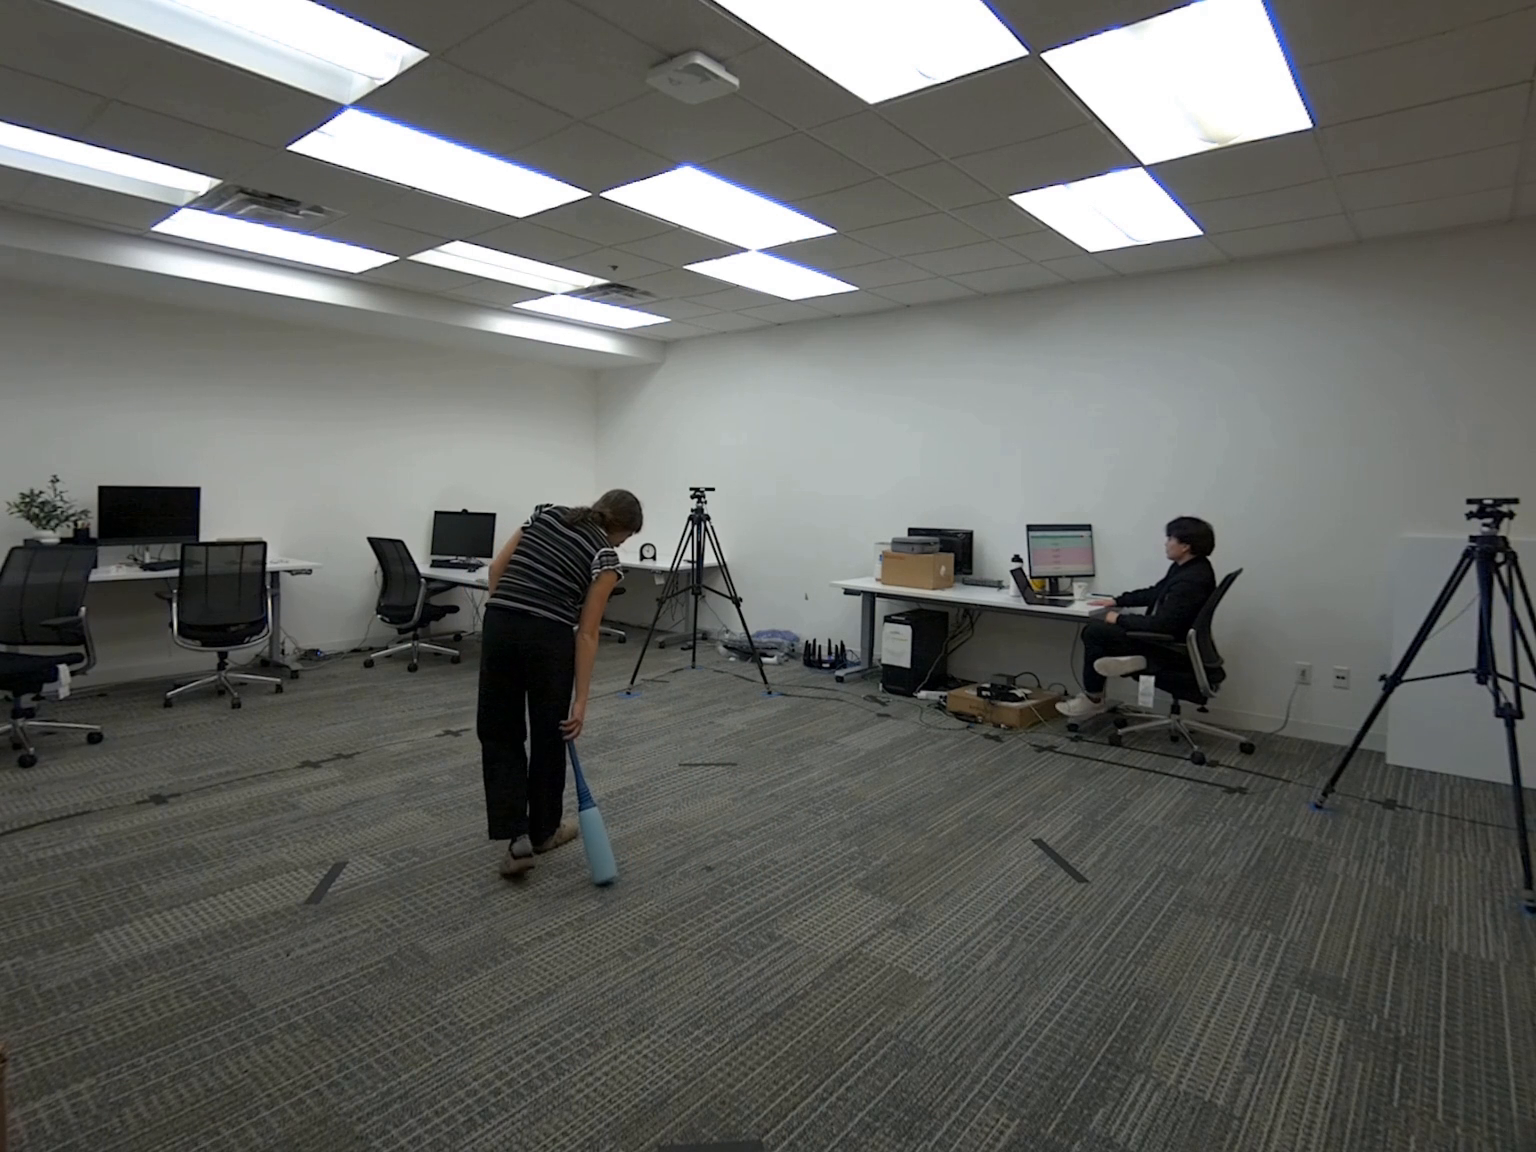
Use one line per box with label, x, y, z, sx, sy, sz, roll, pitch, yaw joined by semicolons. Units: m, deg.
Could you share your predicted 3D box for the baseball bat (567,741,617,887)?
baseball bat;-0.658;0.816;3.038;0.088;0.555;0.087;-17;-17;-7
